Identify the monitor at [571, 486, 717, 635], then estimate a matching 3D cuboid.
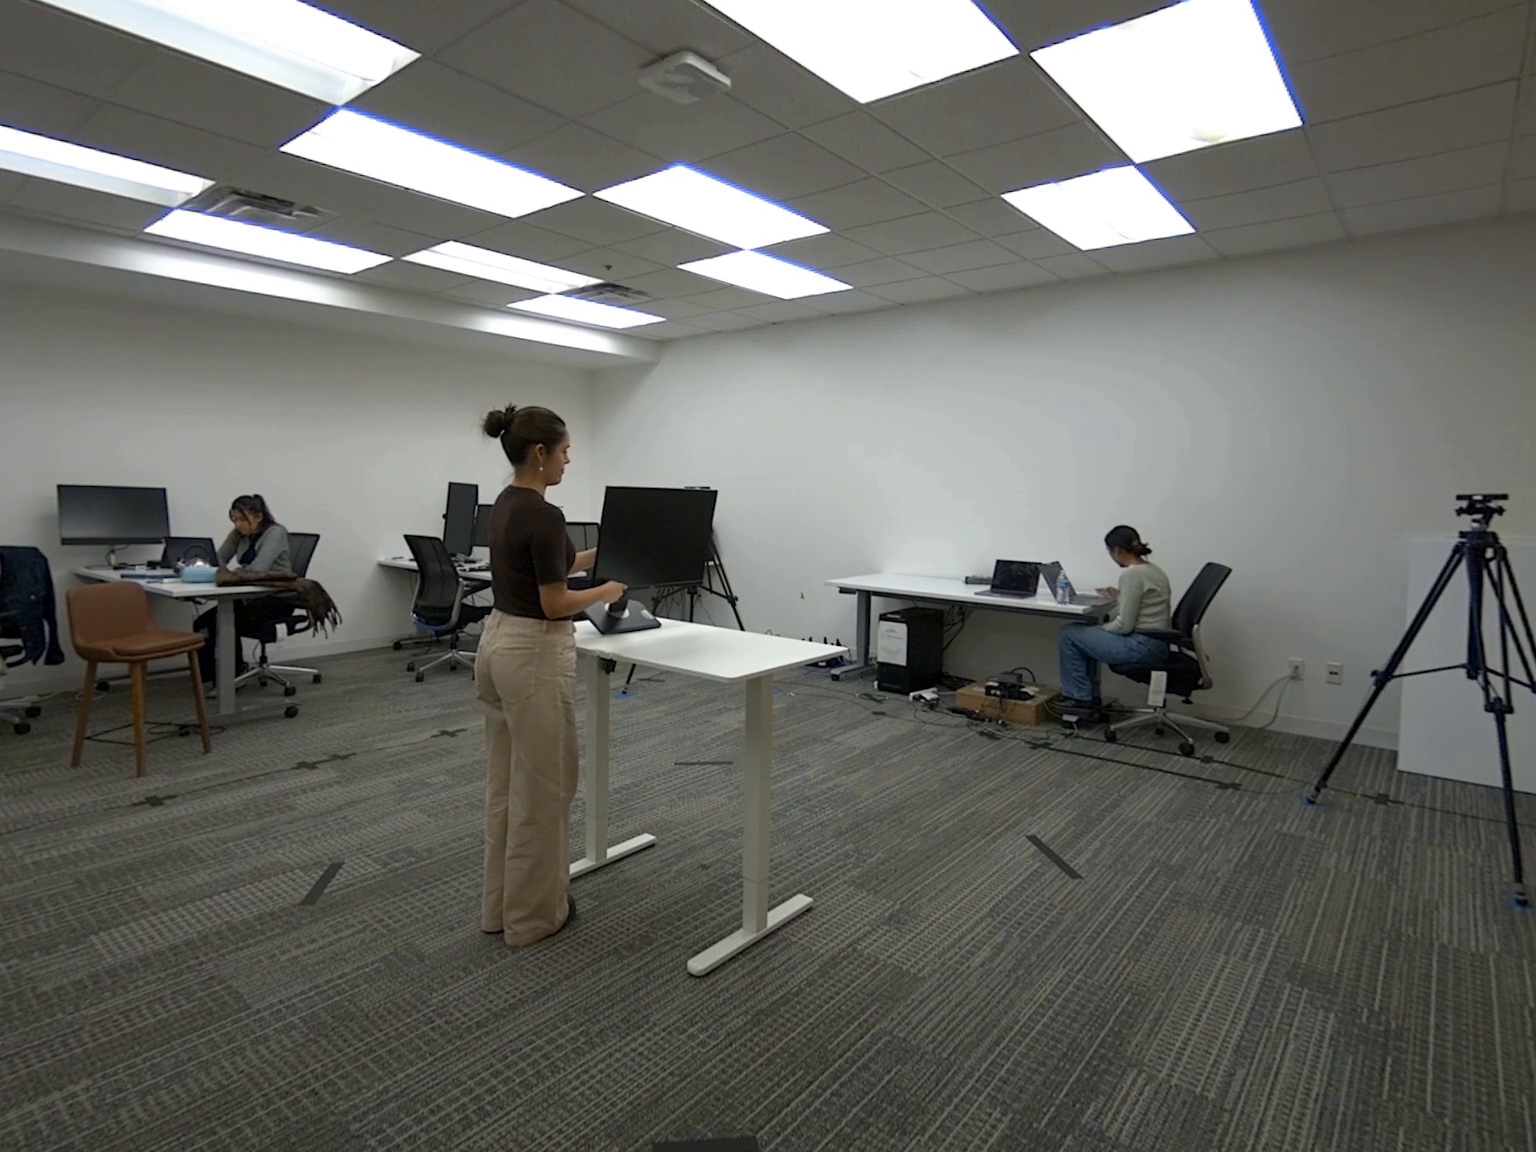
[{"bbox_3d":[-0.440,-0.066,2.936,0.194,0.518,0.524,32,22,30],"label":"monitor"}]
